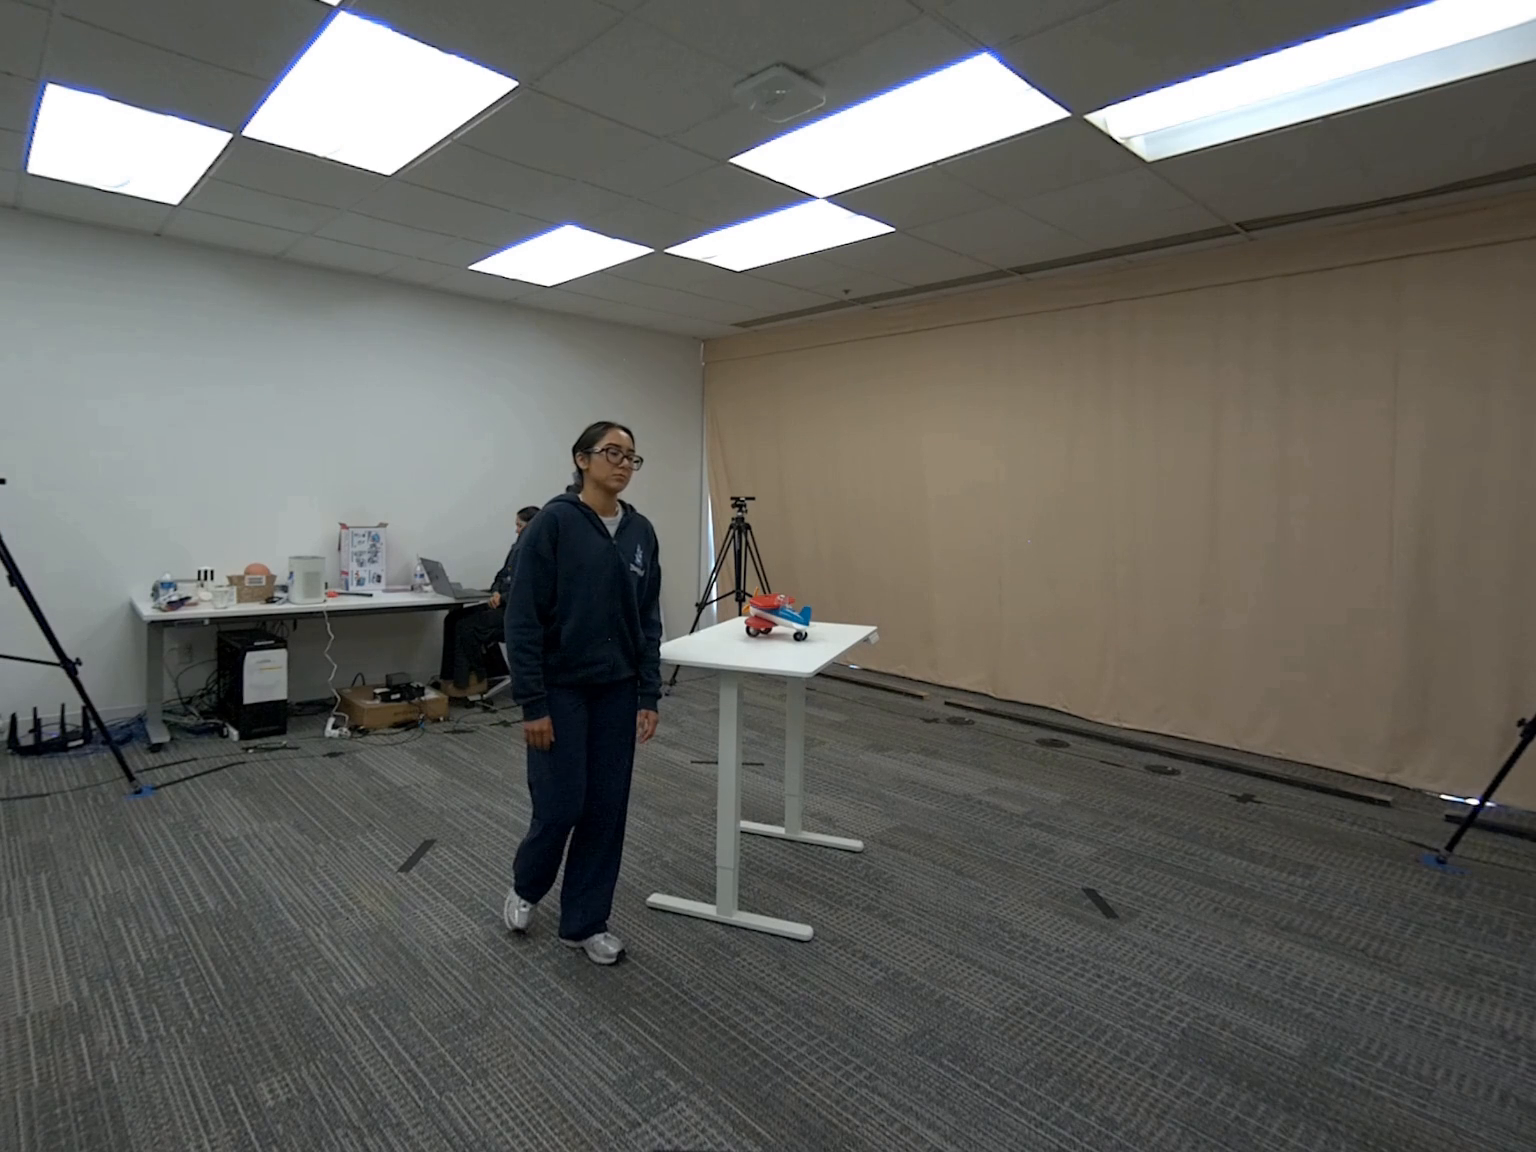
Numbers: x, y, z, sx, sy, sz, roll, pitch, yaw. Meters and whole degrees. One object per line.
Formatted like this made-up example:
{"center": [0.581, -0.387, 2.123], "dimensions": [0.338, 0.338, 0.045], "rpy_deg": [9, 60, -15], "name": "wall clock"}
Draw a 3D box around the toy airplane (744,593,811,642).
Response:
{"center": [0.038, 0.153, 3.128], "dimensions": [0.260, 0.156, 0.251], "rpy_deg": [1, 5, 3], "name": "toy airplane"}
